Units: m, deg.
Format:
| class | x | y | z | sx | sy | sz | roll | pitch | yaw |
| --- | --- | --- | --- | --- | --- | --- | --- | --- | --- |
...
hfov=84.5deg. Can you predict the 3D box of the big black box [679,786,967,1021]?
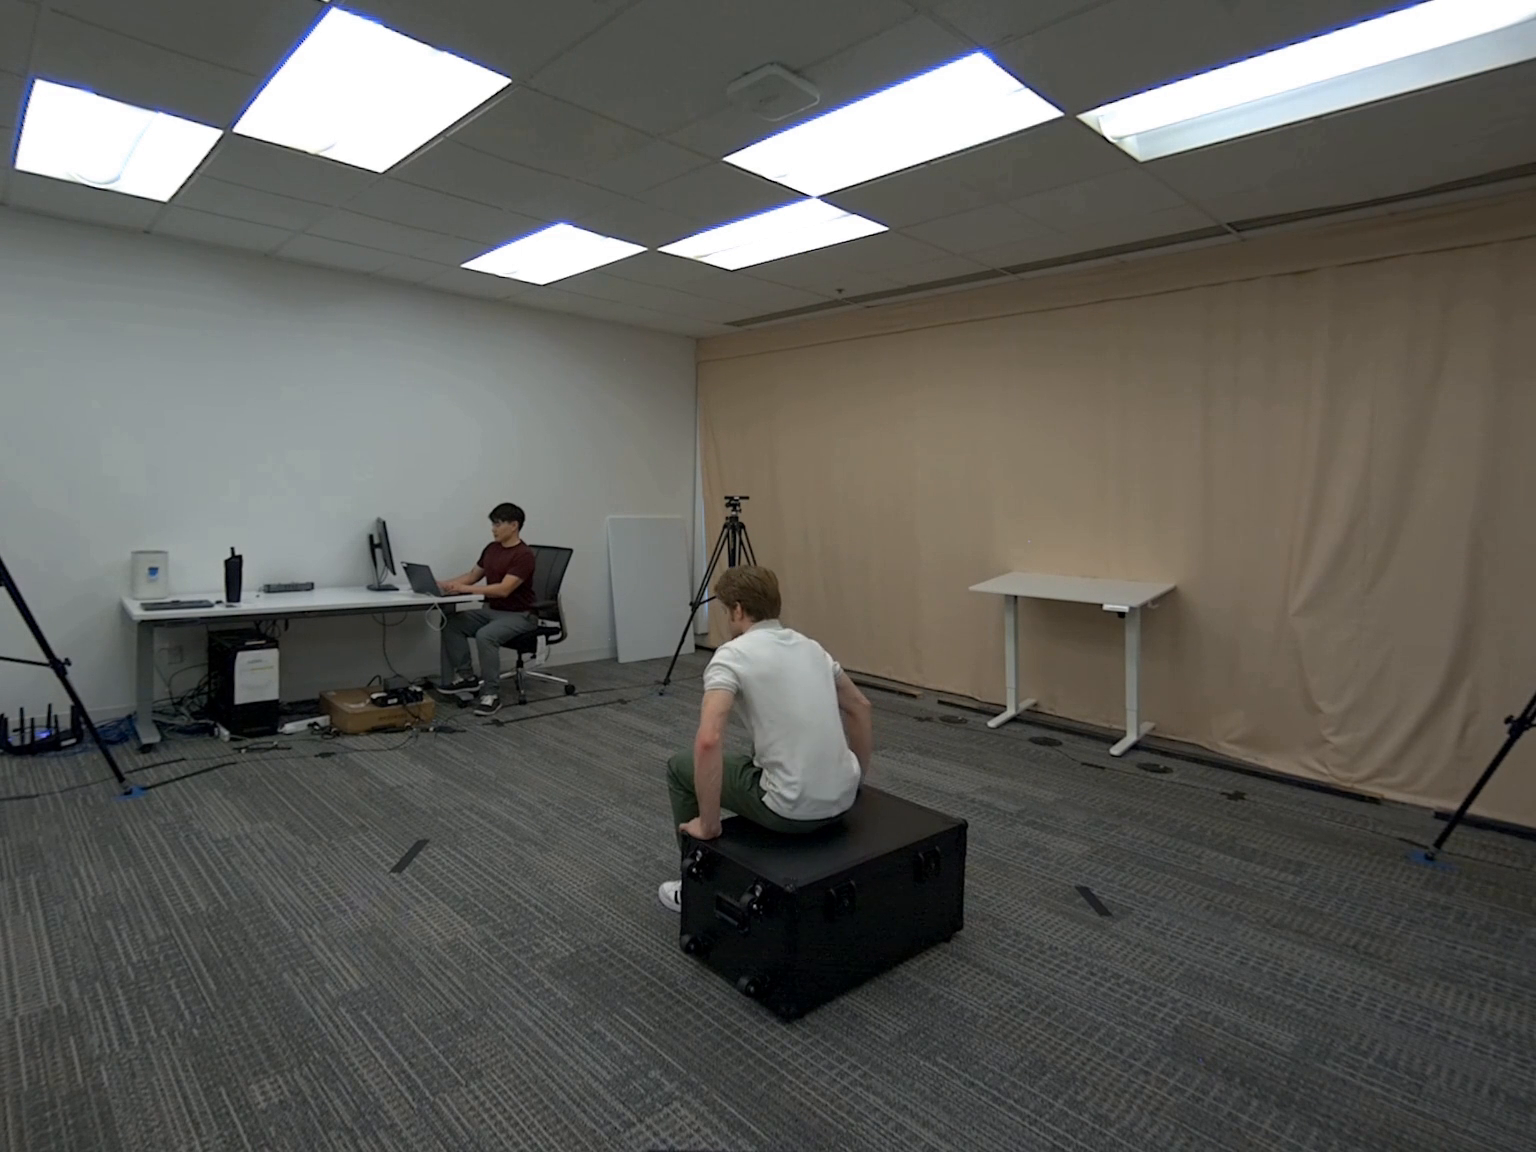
| class | x | y | z | sx | sy | sz | roll | pitch | yaw |
| --- | --- | --- | --- | --- | --- | --- | --- | --- | --- |
| big black box | 0.151 | 0.966 | 2.605 | 0.849 | 0.384 | 0.537 | -3 | 7 | -41 |
